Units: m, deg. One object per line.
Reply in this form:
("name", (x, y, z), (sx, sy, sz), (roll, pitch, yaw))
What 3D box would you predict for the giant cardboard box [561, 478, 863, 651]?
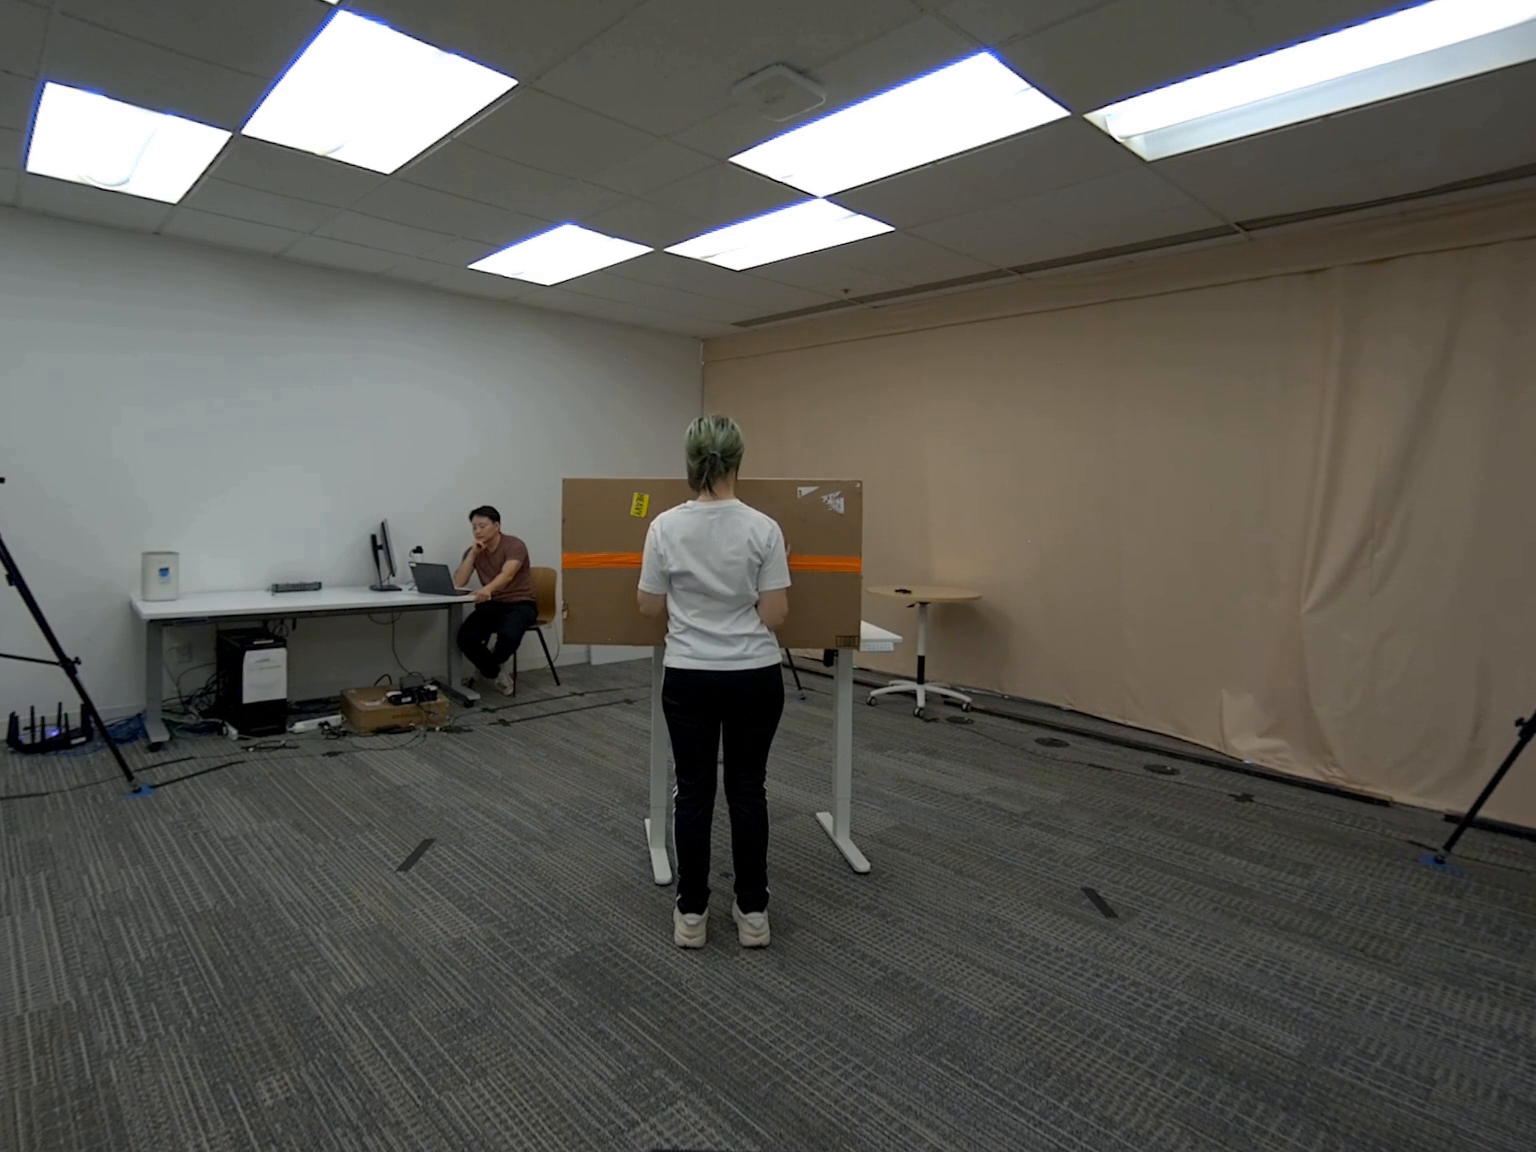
("giant cardboard box", (-0.203, -0.071, 3.062), (1.028, 0.582, 0.448), (1, 4, 1))
